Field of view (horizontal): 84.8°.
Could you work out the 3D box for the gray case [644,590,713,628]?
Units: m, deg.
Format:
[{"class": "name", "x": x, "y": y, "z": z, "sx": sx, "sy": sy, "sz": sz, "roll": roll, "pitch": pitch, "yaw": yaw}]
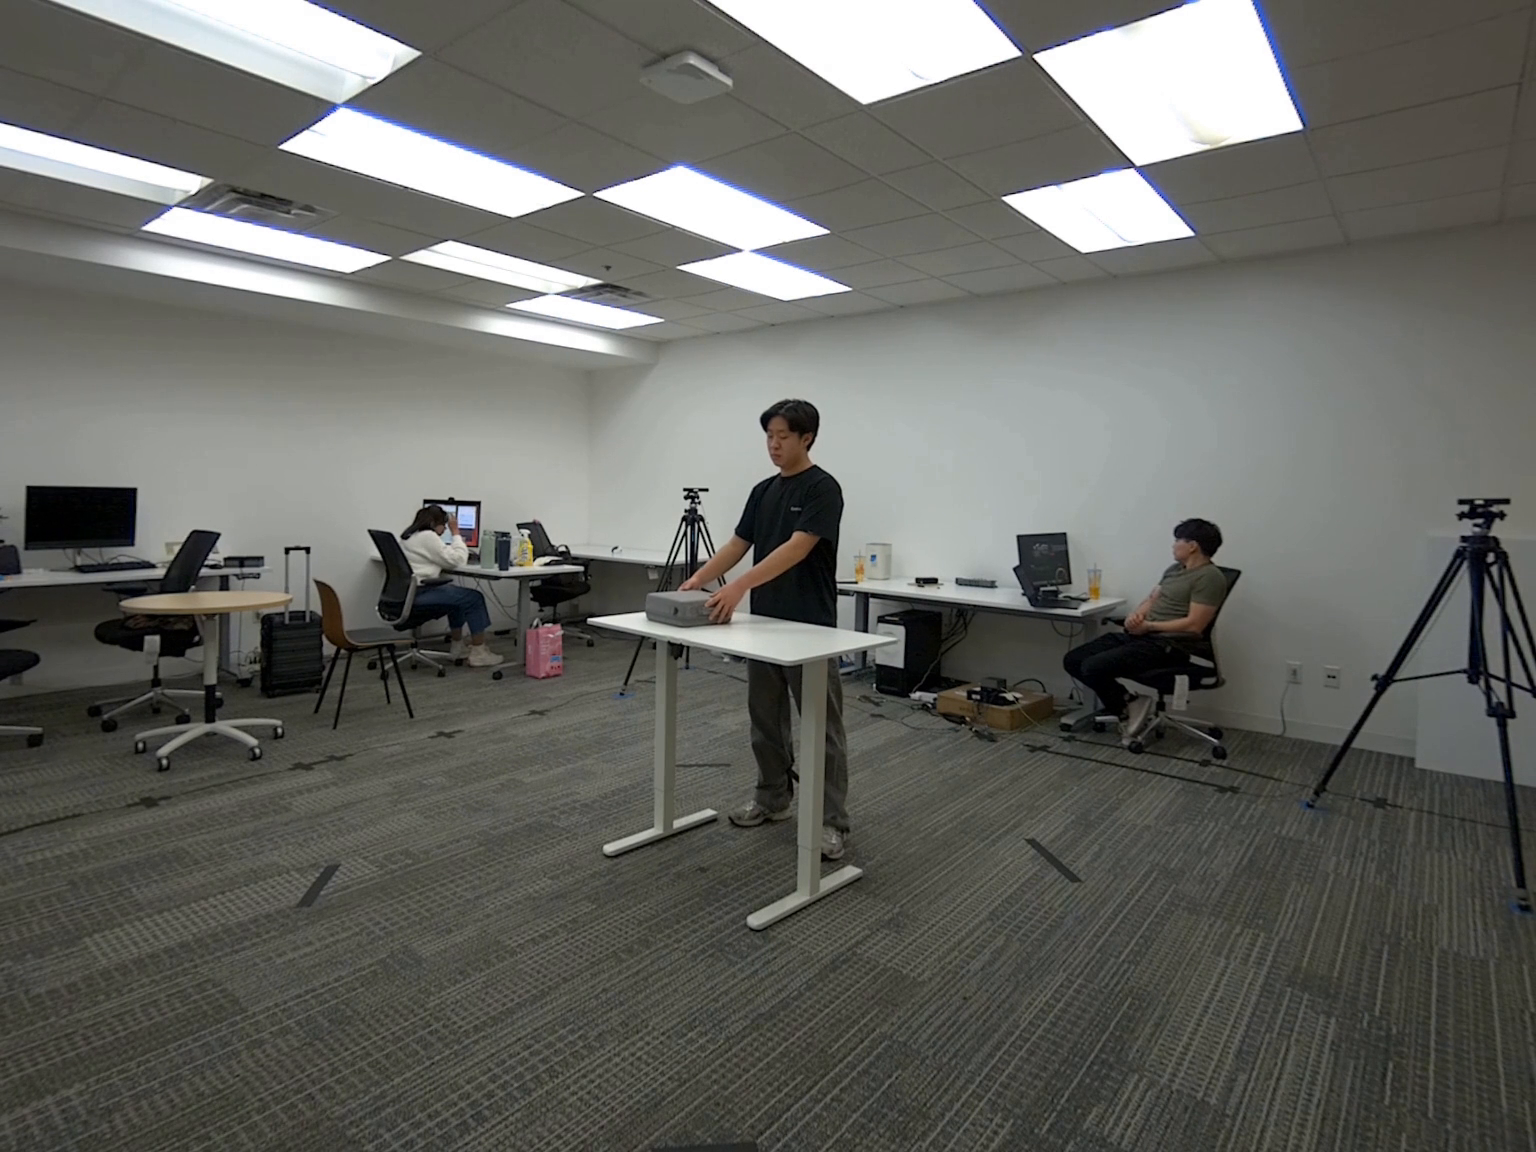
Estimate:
[{"class": "gray case", "x": -0.311, "y": 0.122, "z": 3.227, "sx": 0.255, "sy": 0.102, "sz": 0.297, "roll": -4, "pitch": 7, "yaw": -40}]
